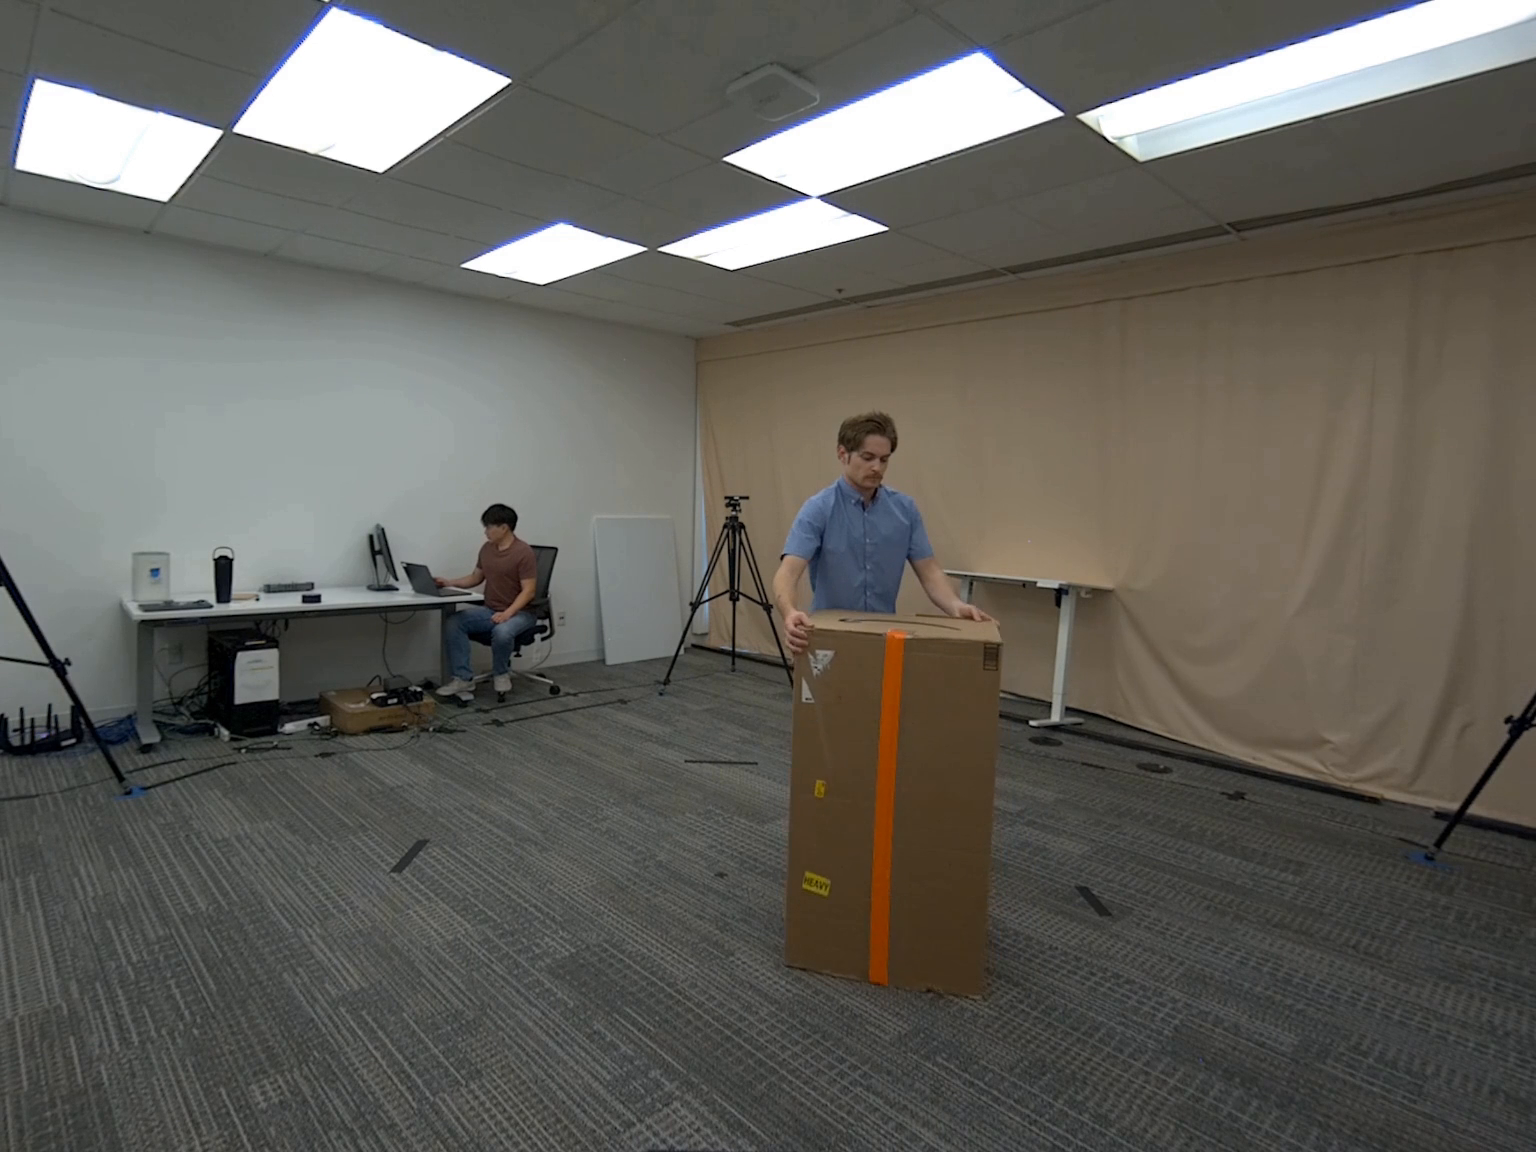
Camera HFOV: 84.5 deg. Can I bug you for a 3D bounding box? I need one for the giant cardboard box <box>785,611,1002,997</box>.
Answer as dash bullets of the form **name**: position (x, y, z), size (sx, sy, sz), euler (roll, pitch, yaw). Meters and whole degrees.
- **giant cardboard box**: position (0.382, 0.657, 2.602), size (0.584, 1.023, 0.422), euler (3, 4, 14)
